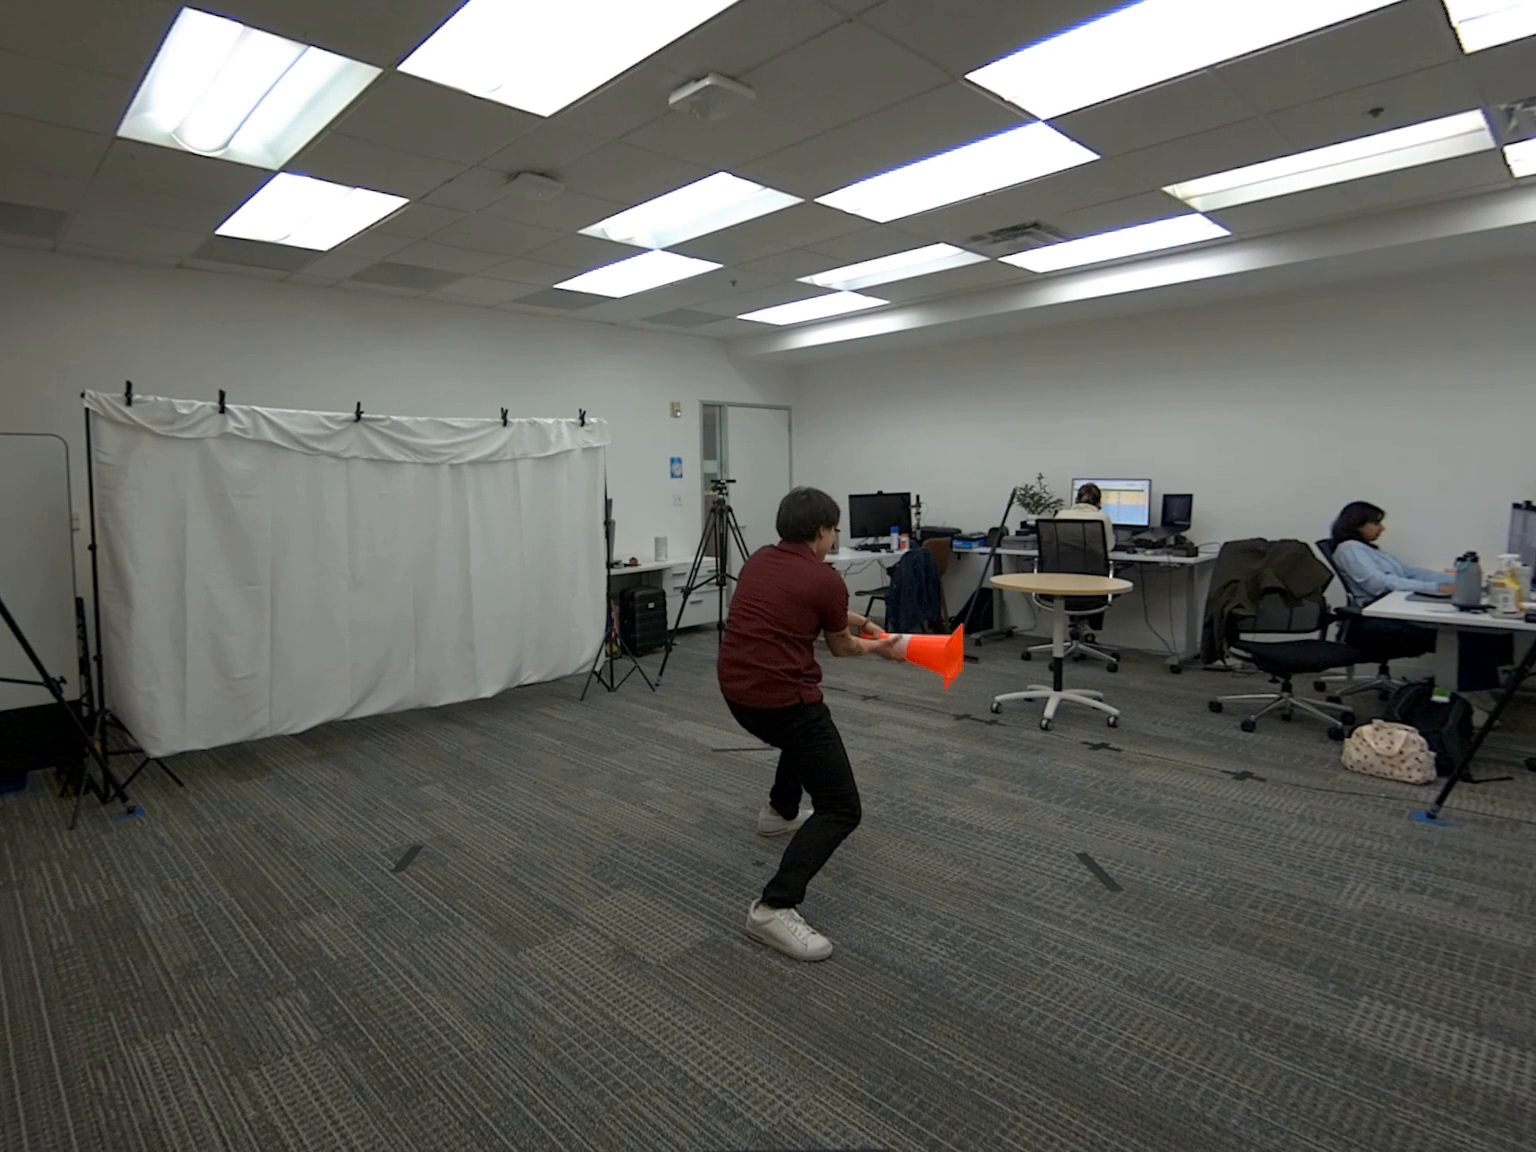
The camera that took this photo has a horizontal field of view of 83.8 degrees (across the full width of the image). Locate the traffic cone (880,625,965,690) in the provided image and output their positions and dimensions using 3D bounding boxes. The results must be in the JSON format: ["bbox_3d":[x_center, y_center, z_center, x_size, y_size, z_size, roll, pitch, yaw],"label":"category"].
[{"bbox_3d":[0.526,0.270,3.285,0.395,0.202,0.200,9,21,32],"label":"traffic cone"}]
